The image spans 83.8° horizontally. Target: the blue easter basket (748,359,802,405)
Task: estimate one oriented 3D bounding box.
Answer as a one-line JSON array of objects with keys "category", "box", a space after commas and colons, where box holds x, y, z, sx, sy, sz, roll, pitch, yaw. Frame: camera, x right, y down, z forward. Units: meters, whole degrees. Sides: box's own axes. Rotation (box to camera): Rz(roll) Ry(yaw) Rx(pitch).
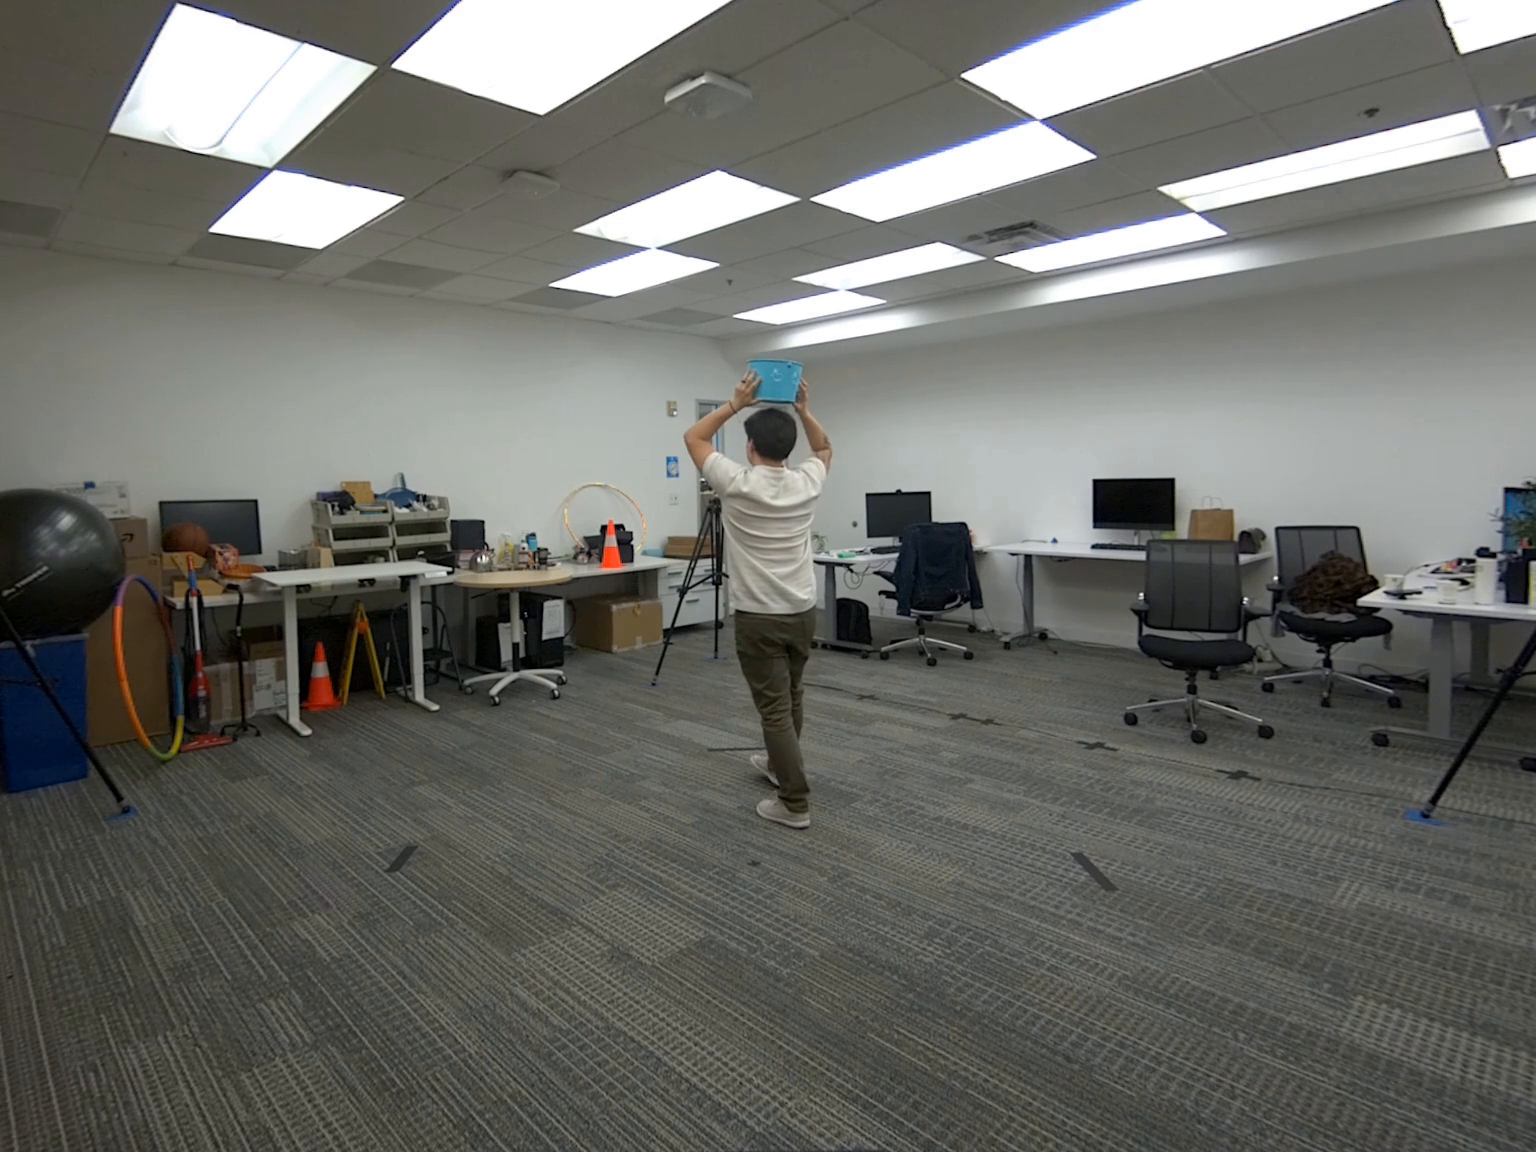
[{"category": "blue easter basket", "box": [0.026, -0.791, 3.471, 0.243, 0.155, 0.245, 3, 5, -2]}]
